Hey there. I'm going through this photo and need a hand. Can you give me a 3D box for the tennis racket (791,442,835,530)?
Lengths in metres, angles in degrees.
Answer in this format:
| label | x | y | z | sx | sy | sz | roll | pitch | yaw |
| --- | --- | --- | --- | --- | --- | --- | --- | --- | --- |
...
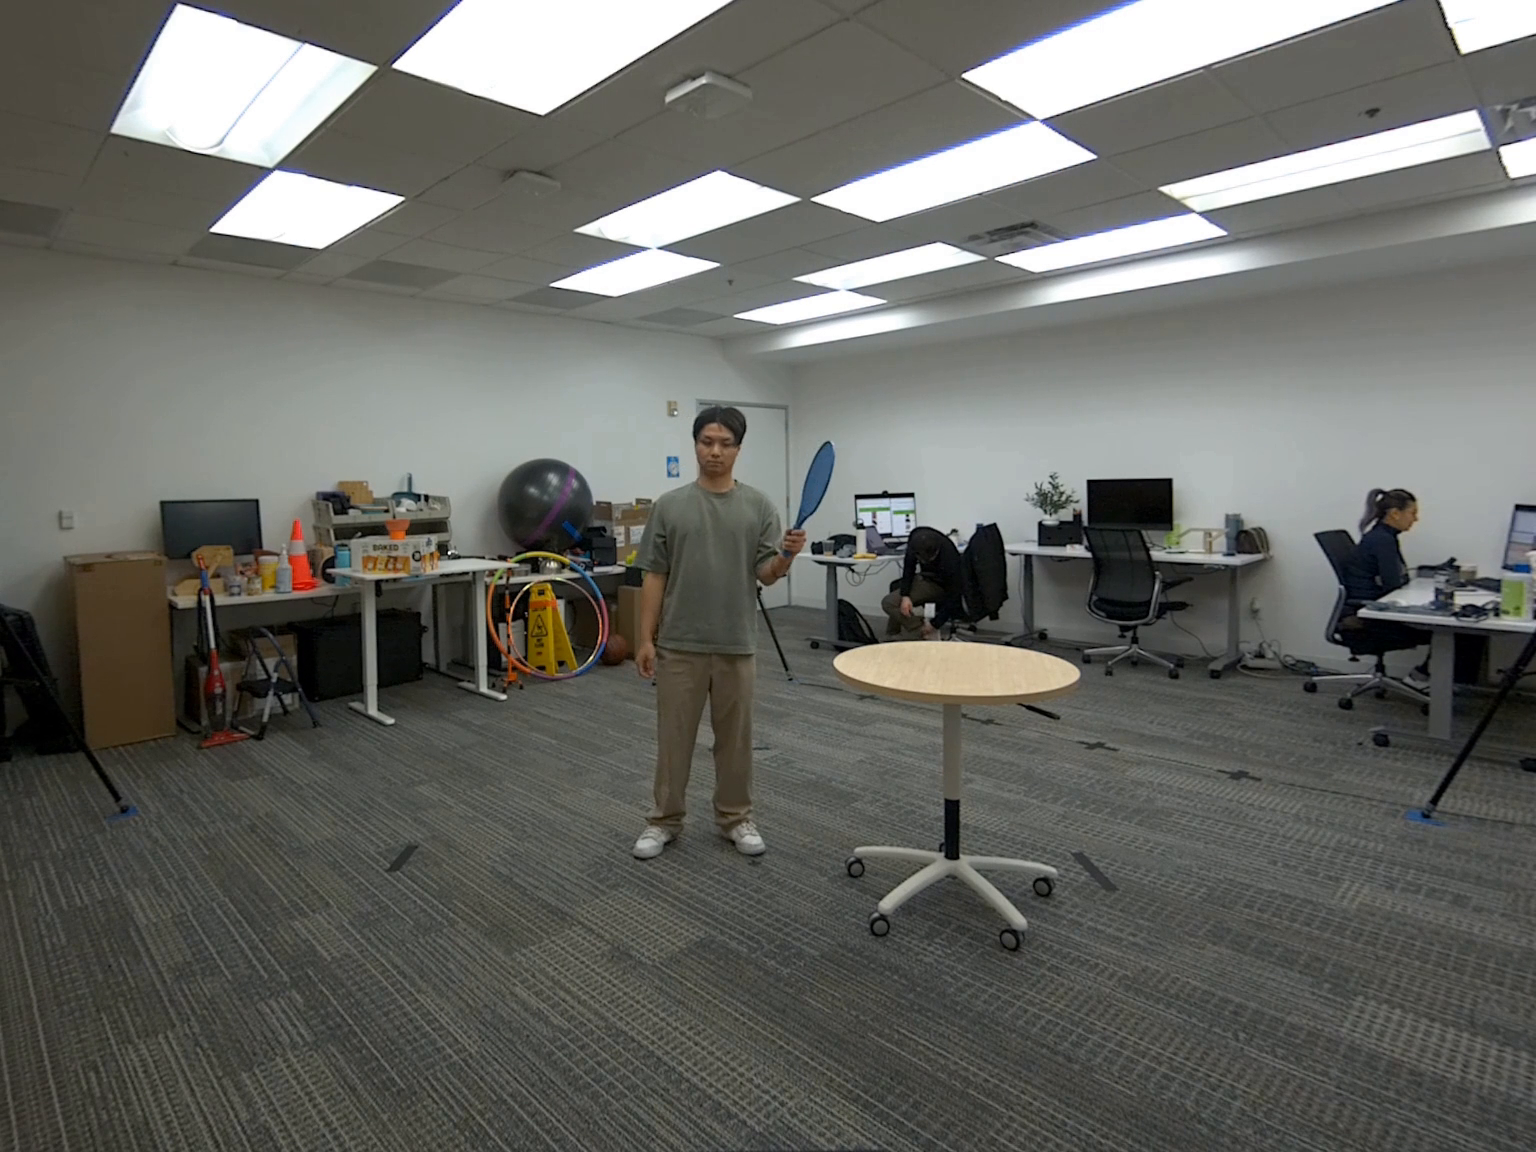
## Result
| label | x | y | z | sx | sy | sz | roll | pitch | yaw |
| --- | --- | --- | --- | --- | --- | --- | --- | --- | --- |
| tennis racket | 0.148 | -0.251 | 2.846 | 0.031 | 0.427 | 0.220 | 12 | 27 | -17 |
